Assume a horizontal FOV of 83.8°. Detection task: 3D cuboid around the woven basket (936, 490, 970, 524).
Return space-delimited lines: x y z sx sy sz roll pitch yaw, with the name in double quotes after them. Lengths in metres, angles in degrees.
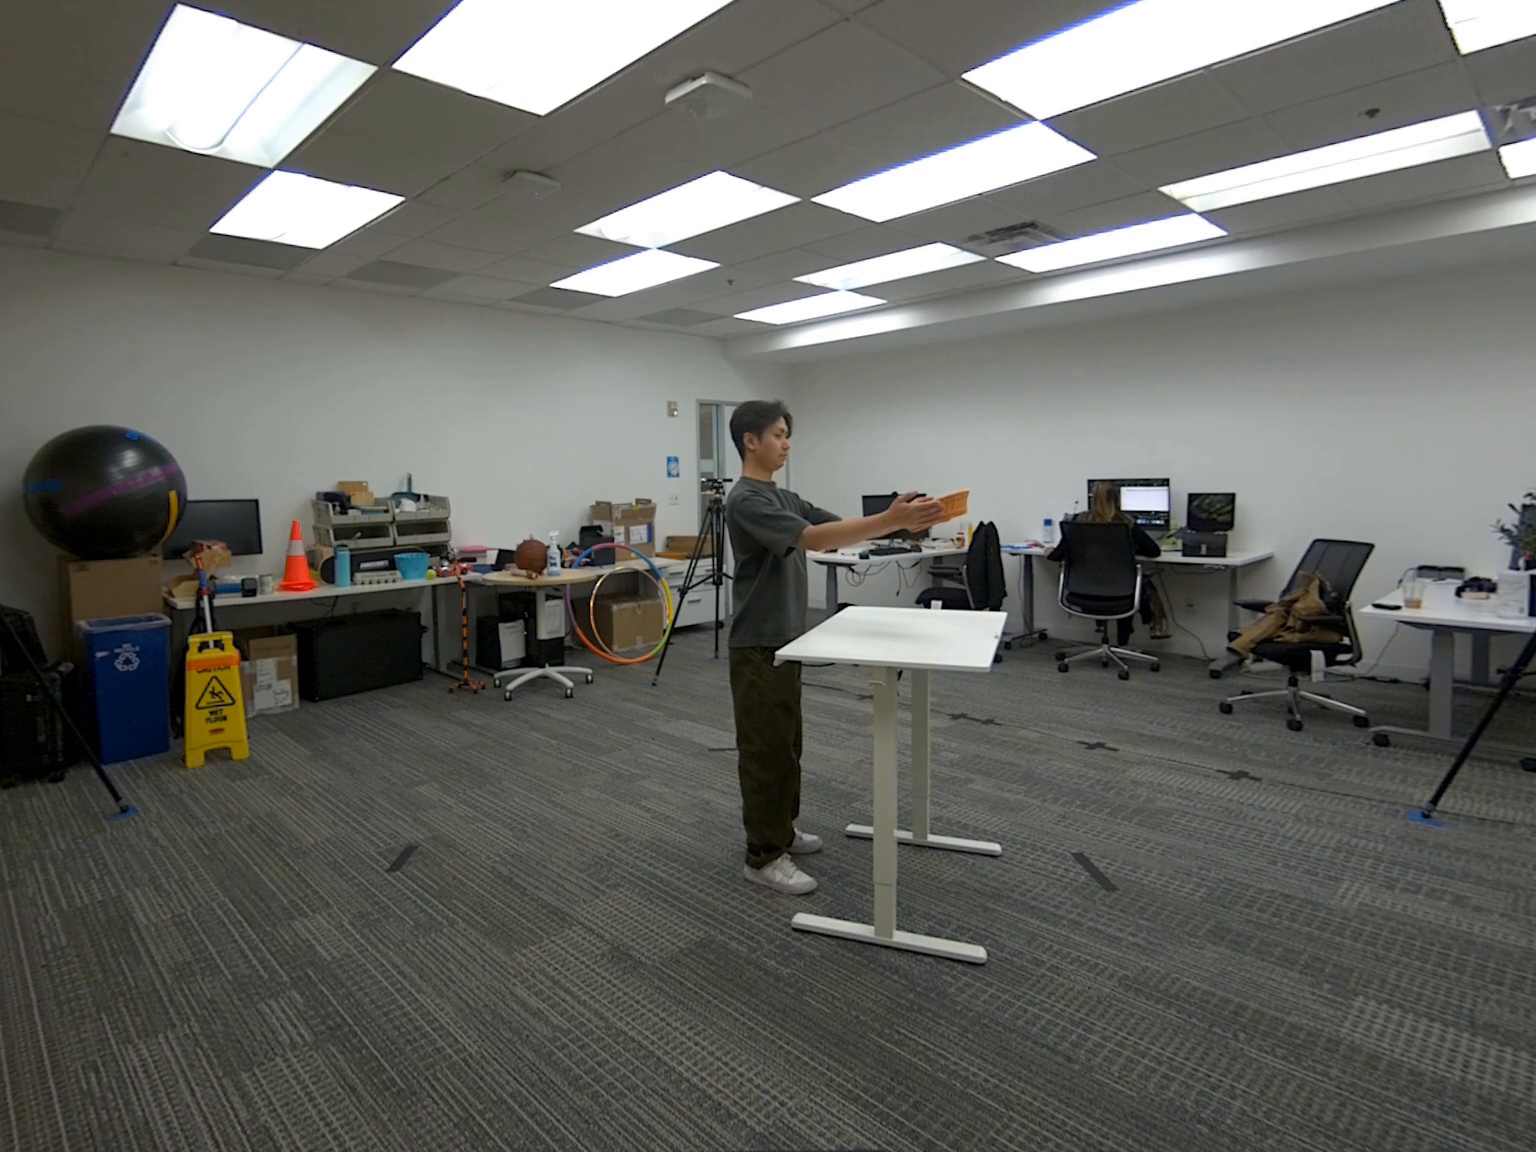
0.525 -0.203 2.824 0.256 0.074 0.343 -22 -3 36 "woven basket"
